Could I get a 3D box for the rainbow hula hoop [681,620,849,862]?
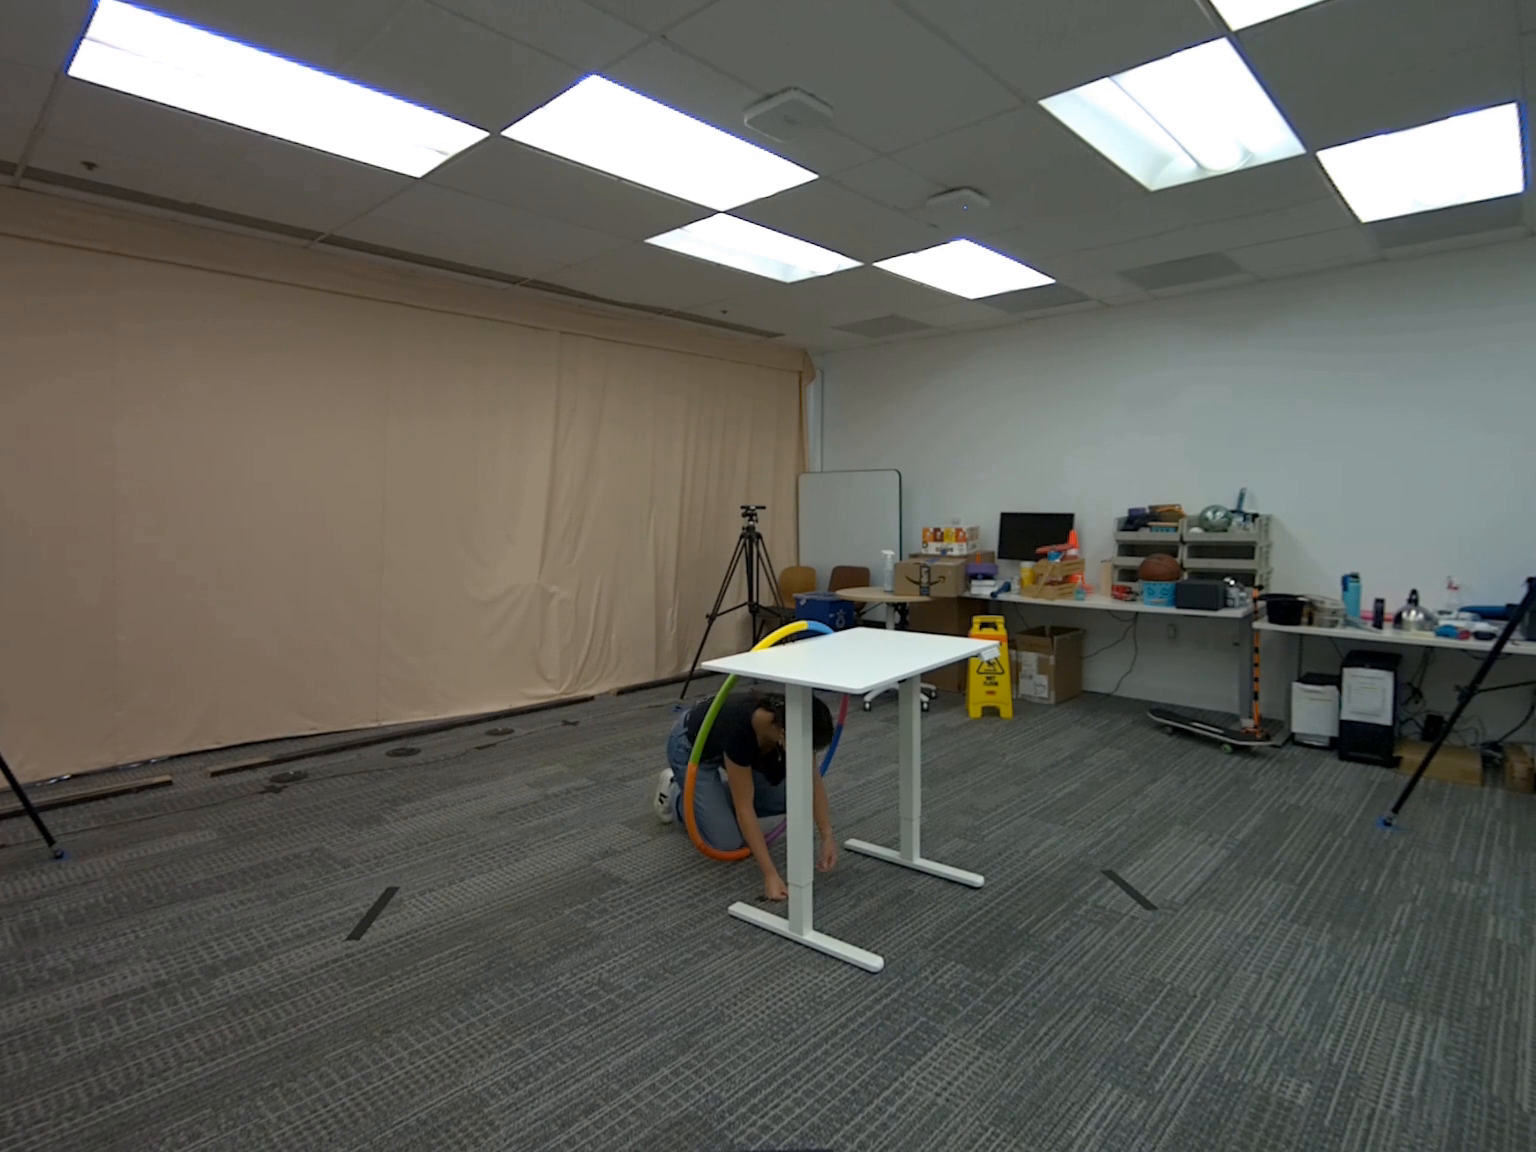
[{"bbox_3d":[0.033,0.644,3.279,0.037,0.973,0.949,20,15,36],"label":"rainbow hula hoop"}]
